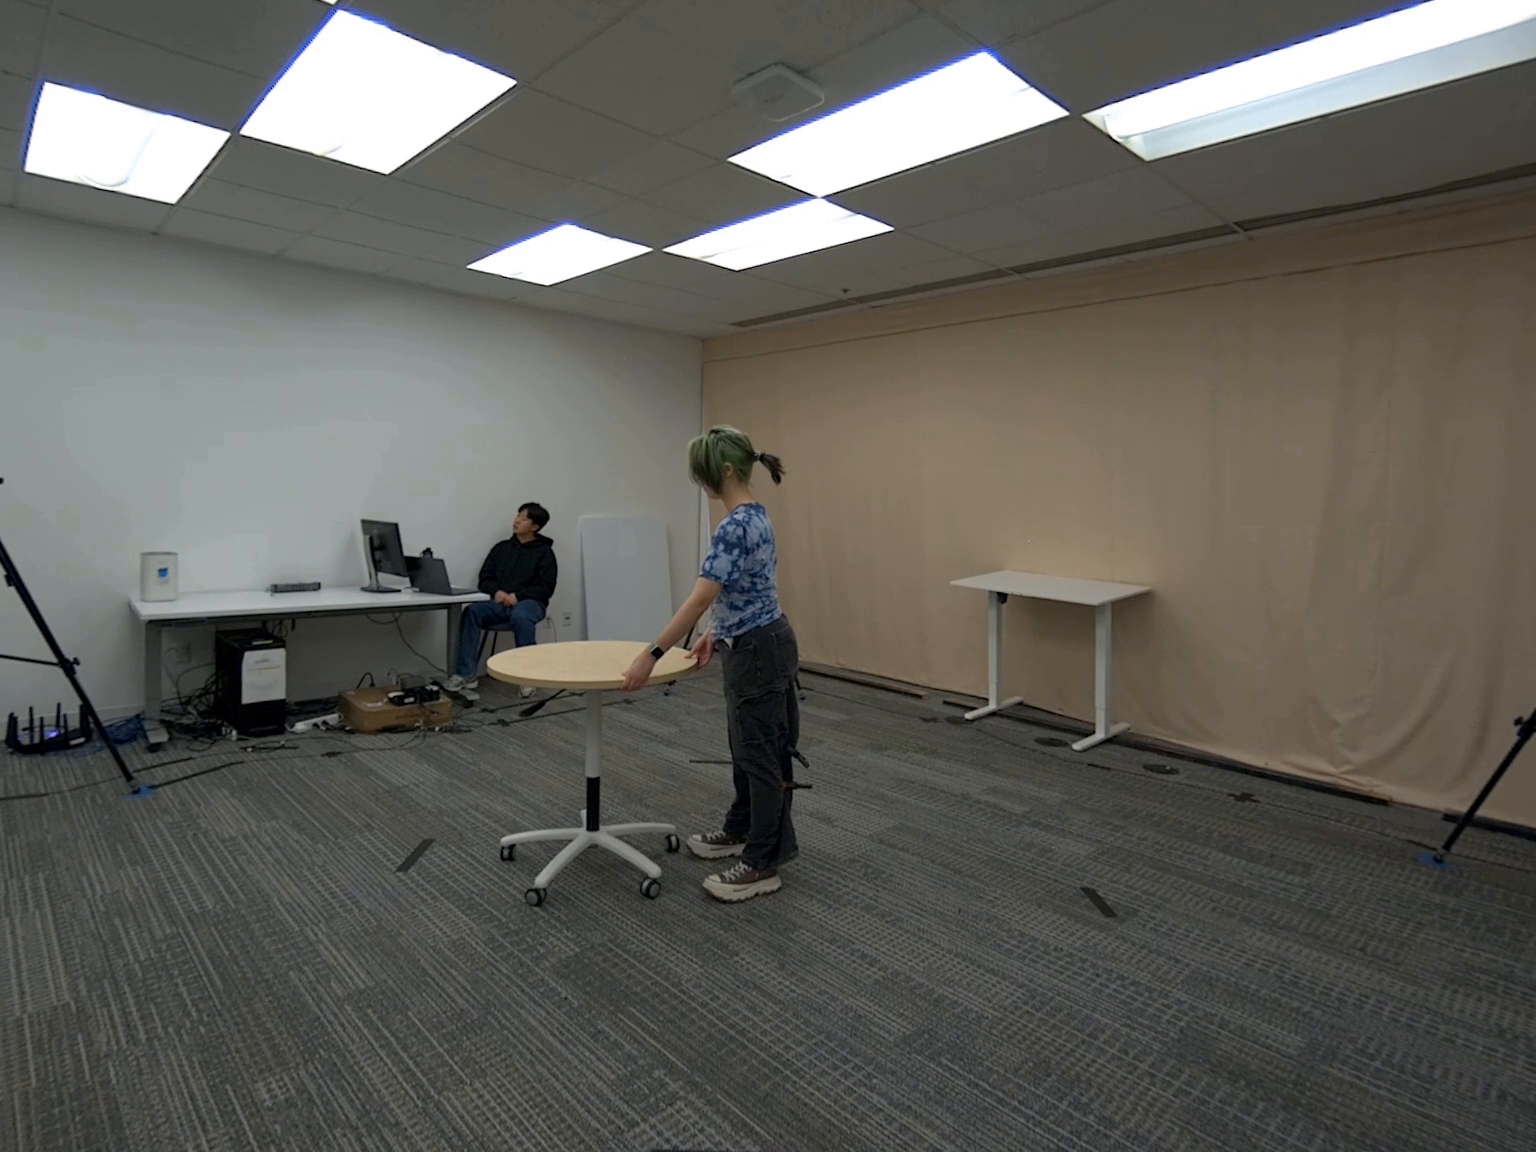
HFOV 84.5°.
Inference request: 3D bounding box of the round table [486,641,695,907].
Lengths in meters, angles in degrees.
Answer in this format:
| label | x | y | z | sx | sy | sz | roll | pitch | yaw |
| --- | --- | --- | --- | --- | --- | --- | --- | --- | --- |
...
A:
| label | x | y | z | sx | sy | sz | roll | pitch | yaw |
| --- | --- | --- | --- | --- | --- | --- | --- | --- | --- |
| round table | -0.656 | 0.698 | 3.128 | 0.763 | 0.792 | 0.766 | 1 | 4 | -1 |
